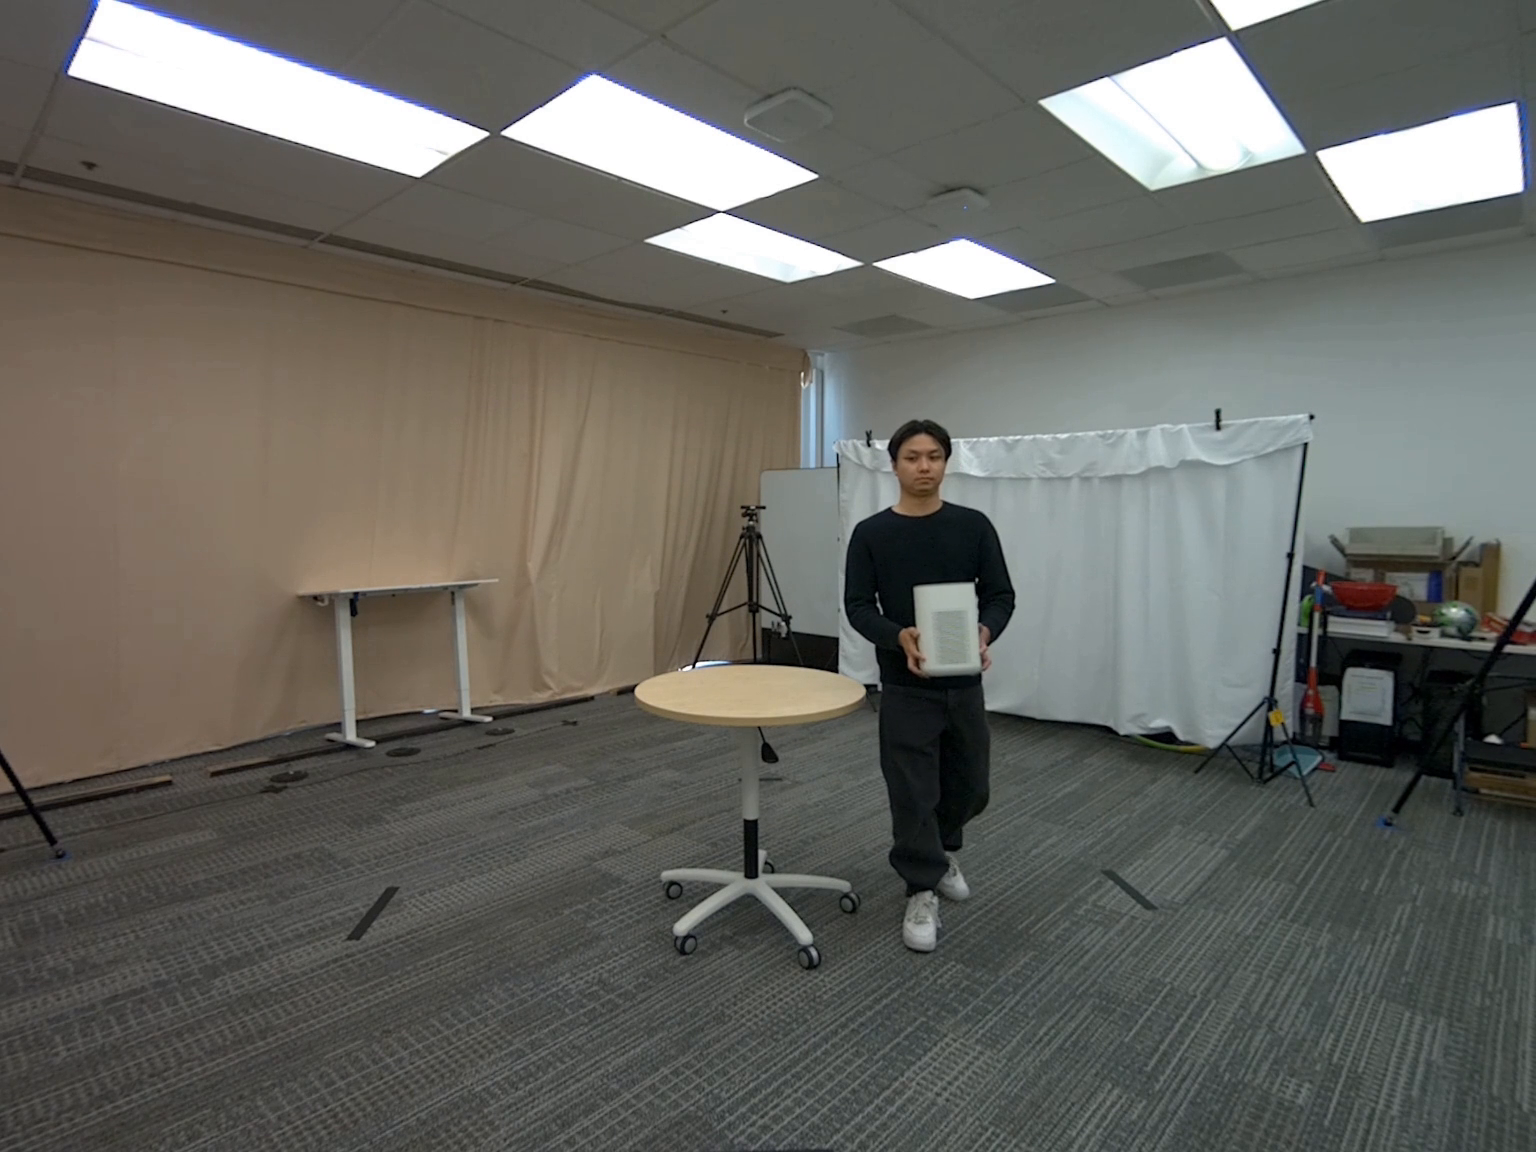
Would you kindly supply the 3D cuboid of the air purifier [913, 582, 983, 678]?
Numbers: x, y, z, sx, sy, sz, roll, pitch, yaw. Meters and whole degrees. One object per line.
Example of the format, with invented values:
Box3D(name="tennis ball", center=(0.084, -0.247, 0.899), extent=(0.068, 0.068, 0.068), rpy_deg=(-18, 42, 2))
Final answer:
Box3D(name="air purifier", center=(0.534, 0.157, 2.492), extent=(0.172, 0.266, 0.170), rpy_deg=(-4, -5, 3))
